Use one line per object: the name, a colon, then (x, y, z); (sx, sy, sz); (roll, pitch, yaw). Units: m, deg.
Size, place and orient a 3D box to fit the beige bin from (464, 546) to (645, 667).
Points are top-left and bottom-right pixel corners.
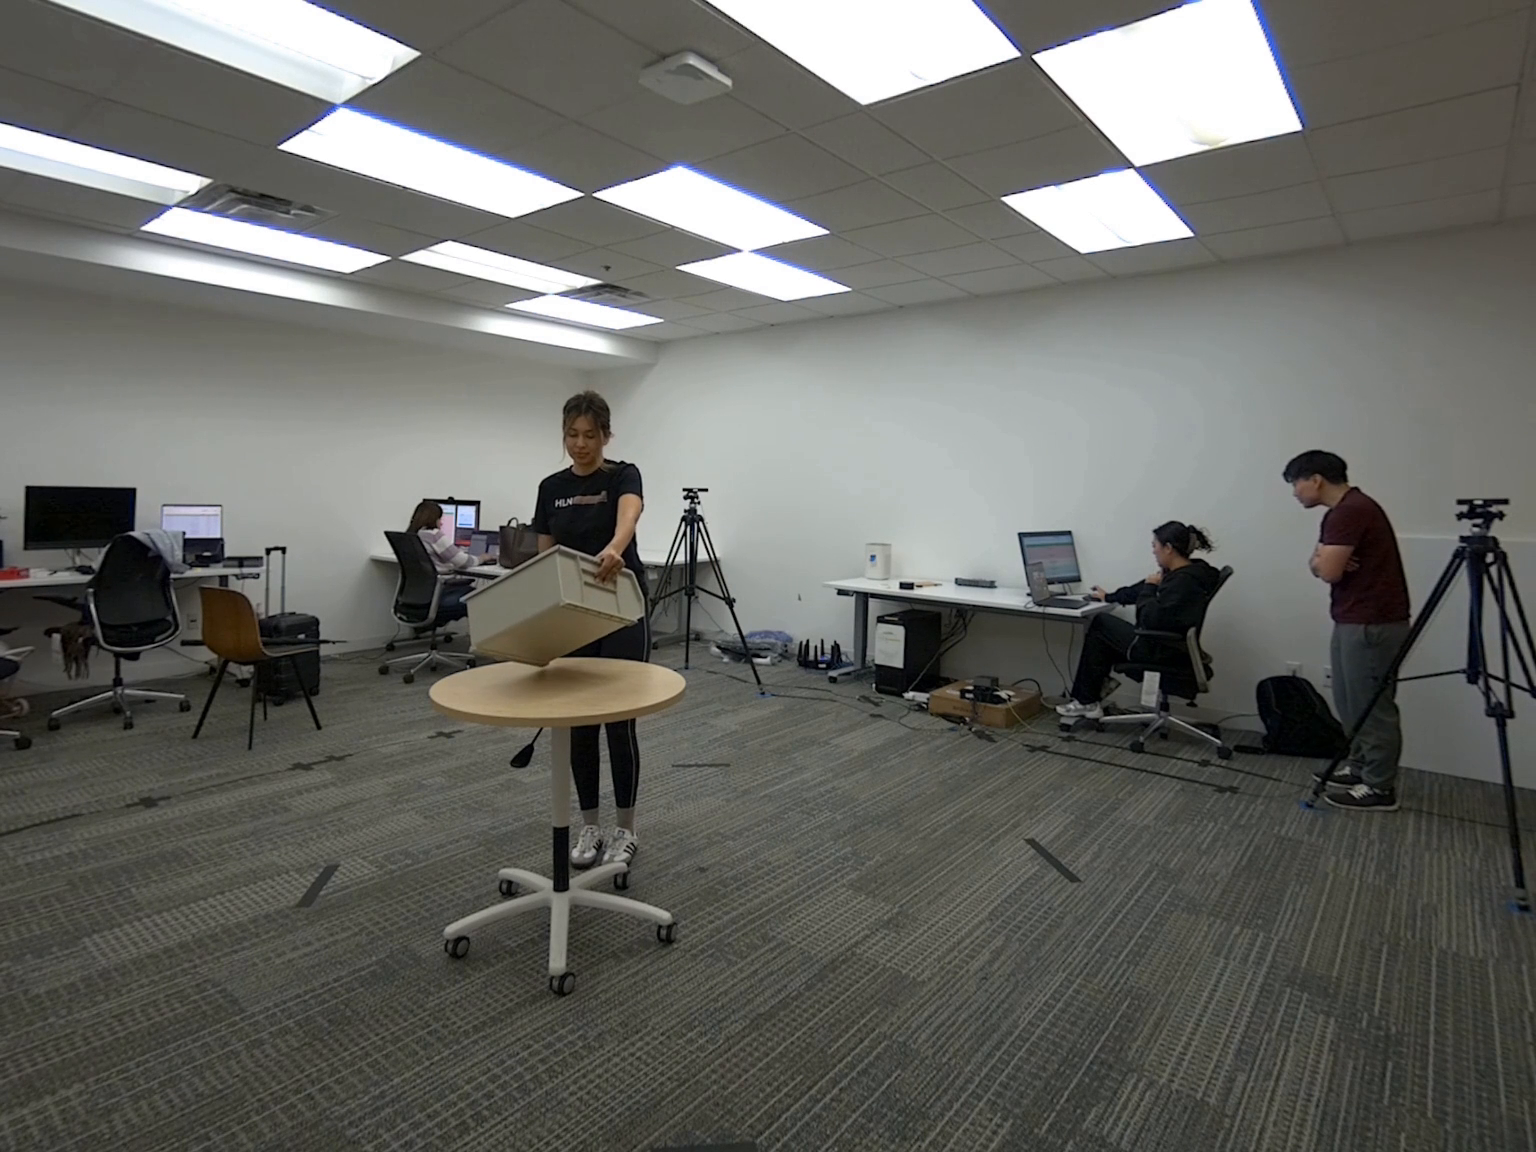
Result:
beige bin: (-0.673, 0.111, 2.638); (0.428, 0.194, 0.363); (-25, -26, 26)
